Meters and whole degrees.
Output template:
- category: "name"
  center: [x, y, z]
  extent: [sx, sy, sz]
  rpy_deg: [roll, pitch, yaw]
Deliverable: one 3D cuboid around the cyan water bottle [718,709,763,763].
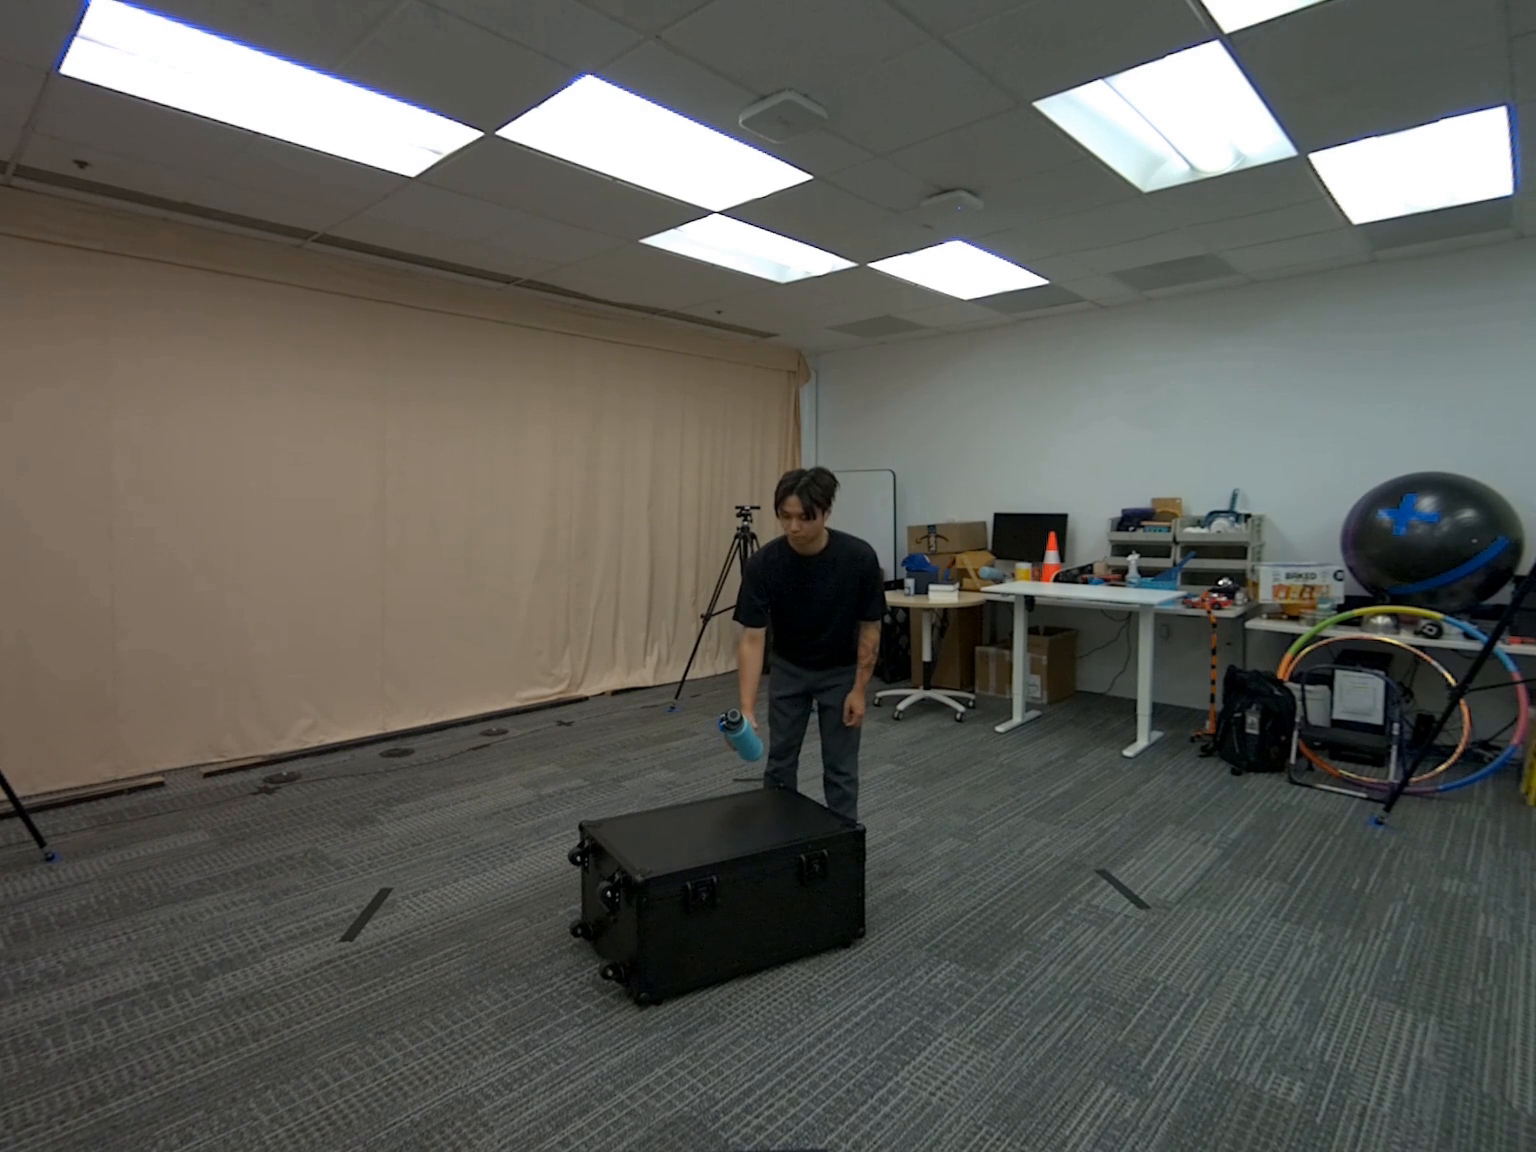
- category: "cyan water bottle"
  center: [-0.092, 0.542, 2.873]
  extent: [0.094, 0.093, 0.275]
  rpy_deg: [2, -34, 20]
